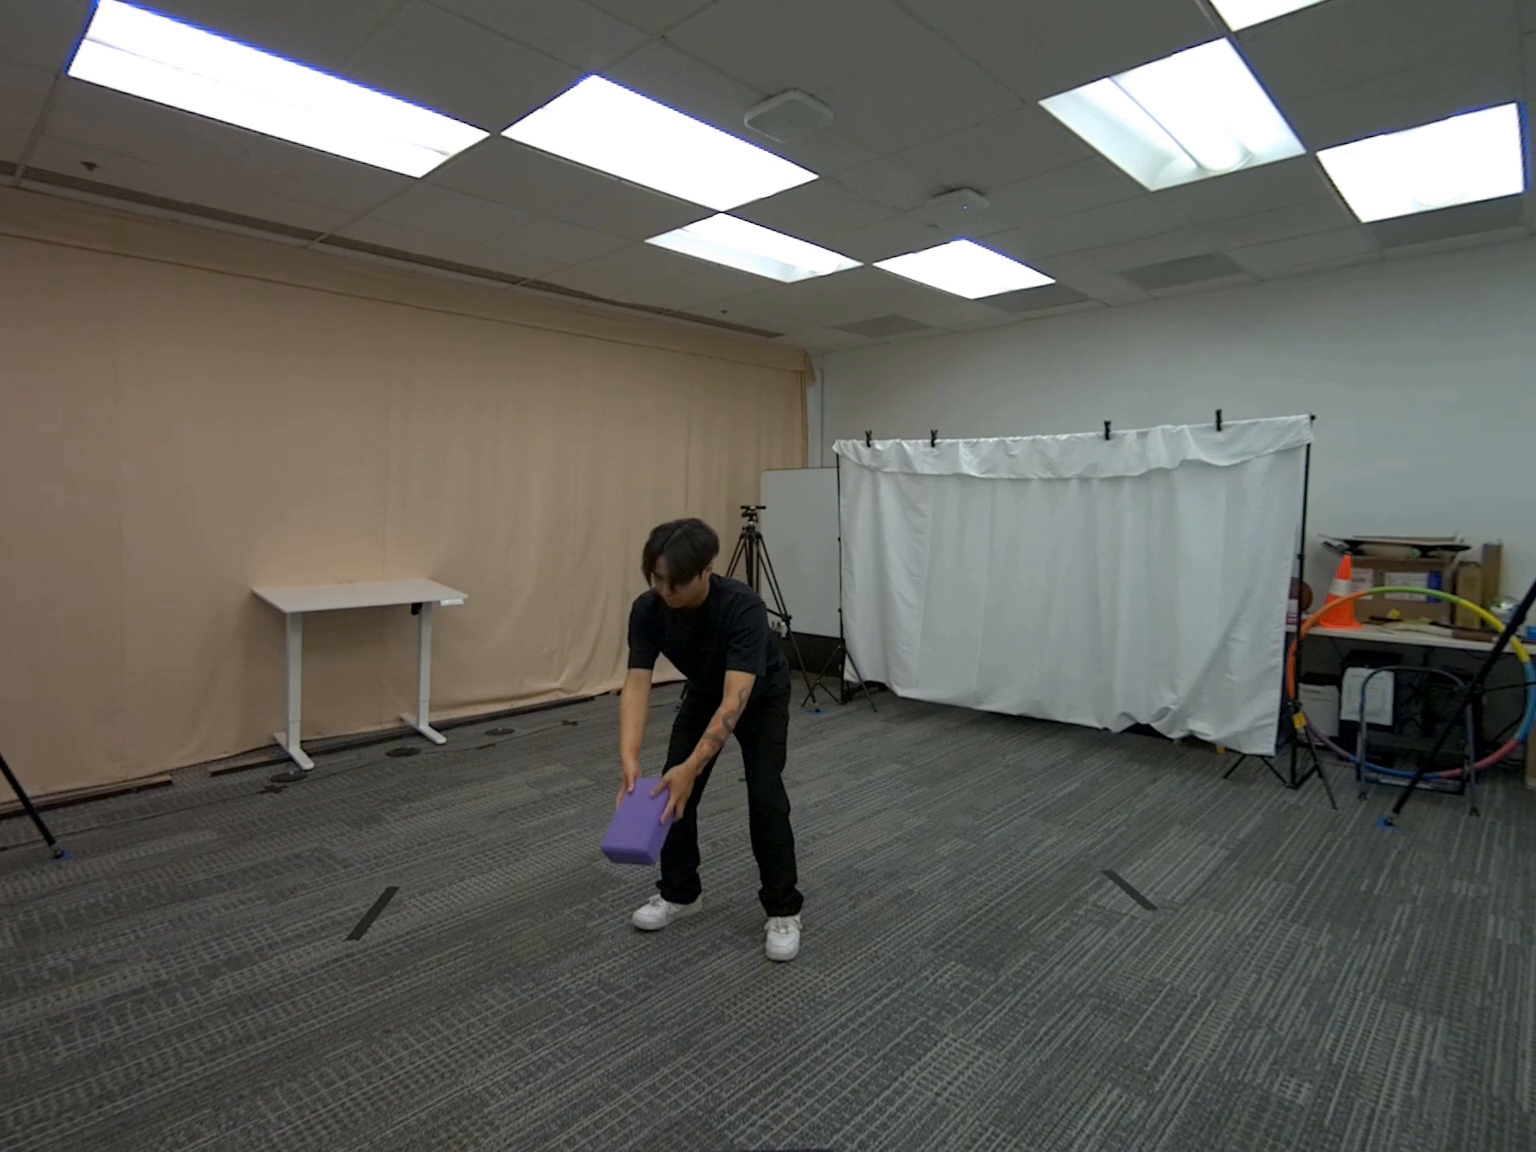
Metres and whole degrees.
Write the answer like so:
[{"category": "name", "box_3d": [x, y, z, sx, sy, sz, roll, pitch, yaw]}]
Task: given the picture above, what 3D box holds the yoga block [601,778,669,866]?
[{"category": "yoga block", "box_3d": [-0.332, 0.665, 2.302, 0.153, 0.074, 0.230, -8, 38, 28]}]
